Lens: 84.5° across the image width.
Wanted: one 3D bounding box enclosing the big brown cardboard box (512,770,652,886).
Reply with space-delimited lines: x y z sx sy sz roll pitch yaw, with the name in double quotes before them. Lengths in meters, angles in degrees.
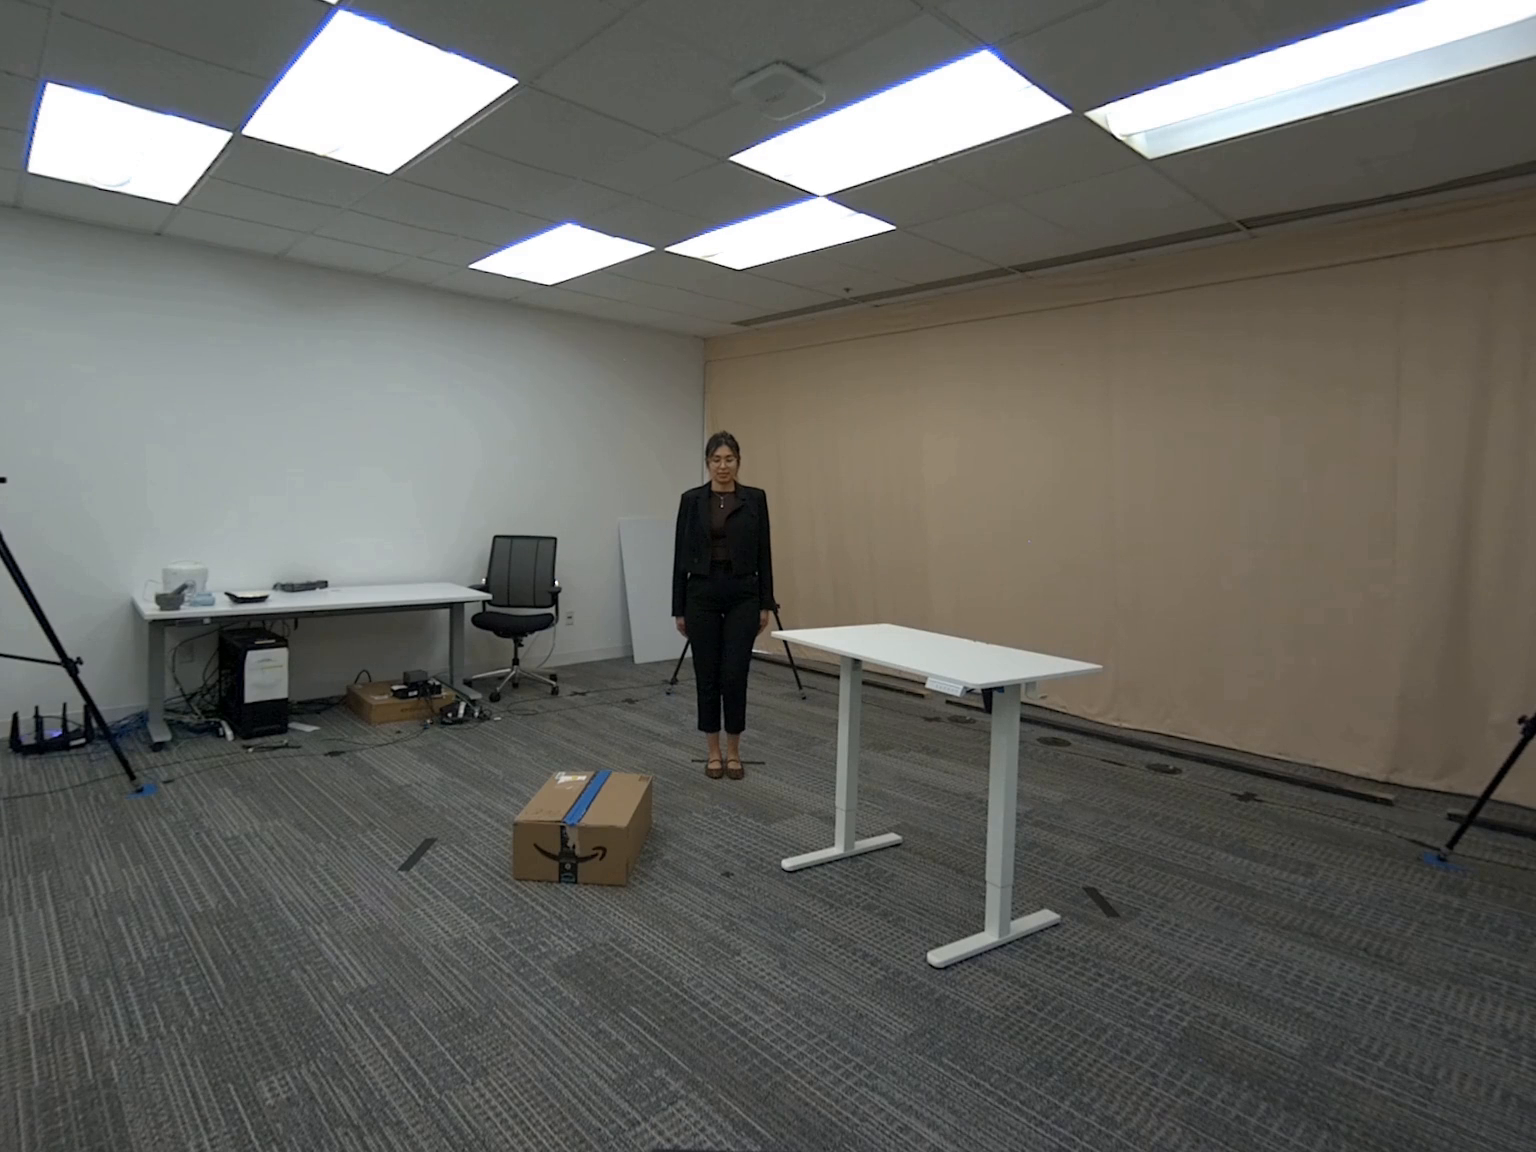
"big brown cardboard box" -0.714 0.963 3.277 0.418 0.232 0.590 1 6 2
